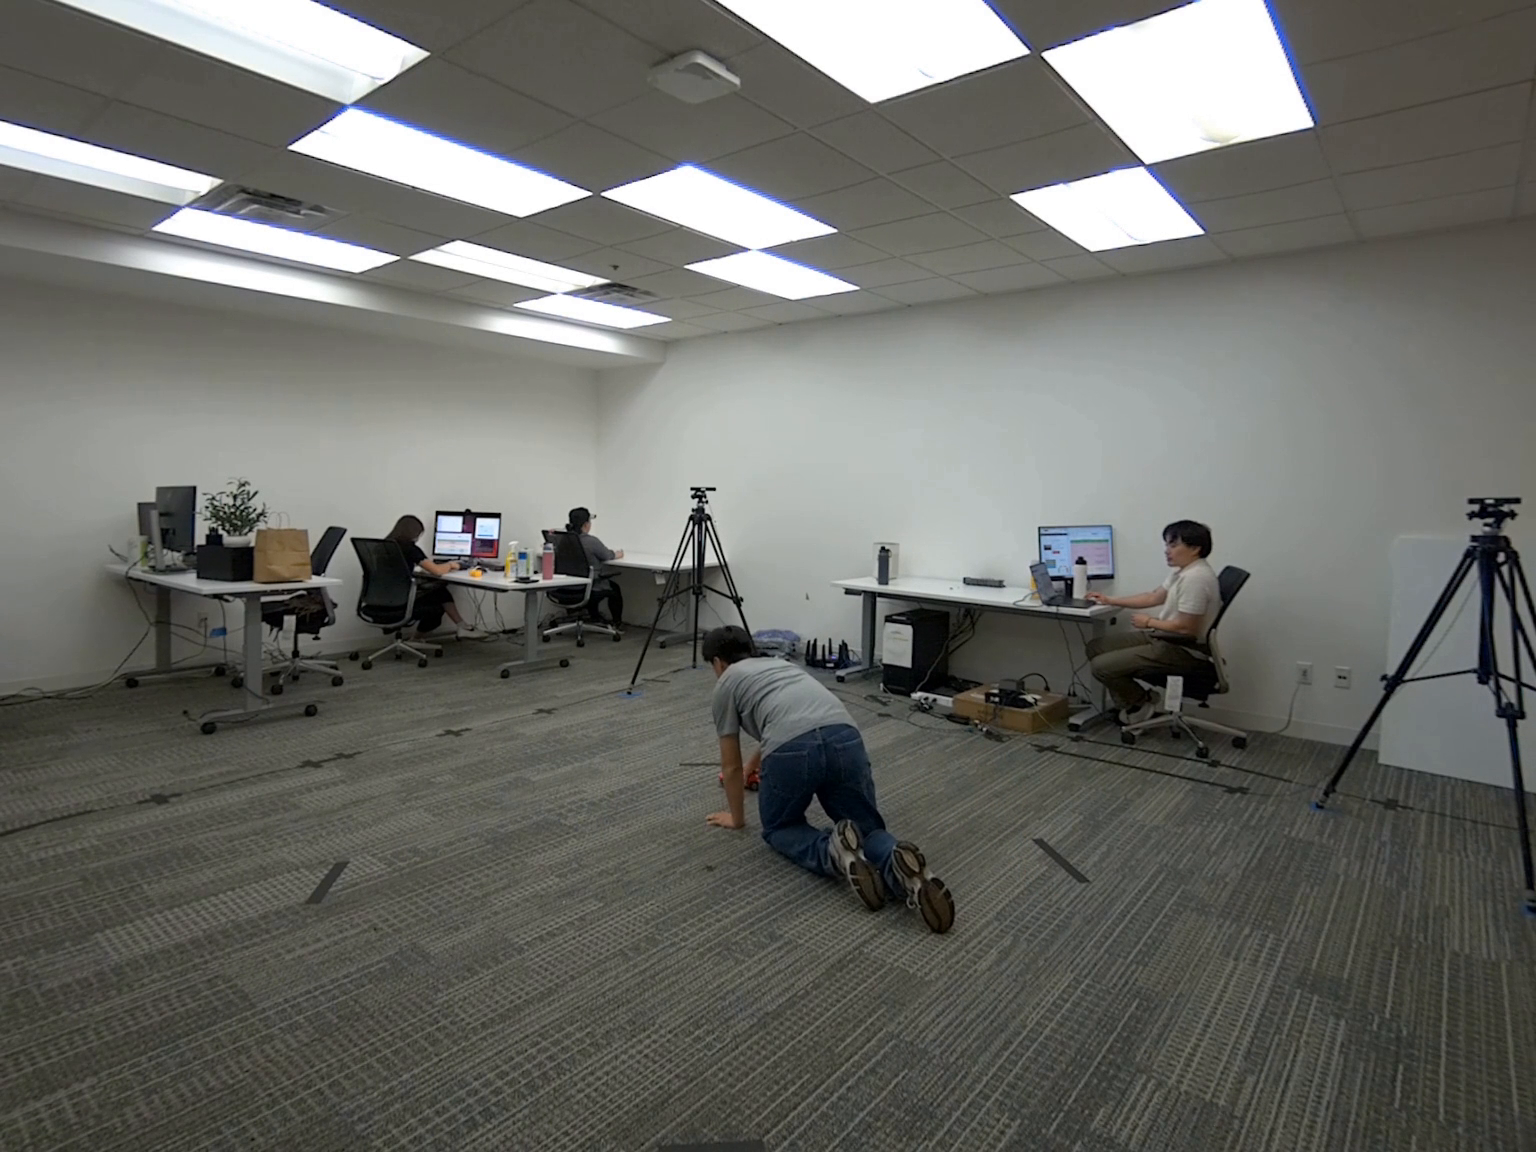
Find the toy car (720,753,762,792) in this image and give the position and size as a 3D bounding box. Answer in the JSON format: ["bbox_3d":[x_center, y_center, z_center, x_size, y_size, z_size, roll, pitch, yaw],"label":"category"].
[{"bbox_3d":[-0.100,0.947,3.981,0.258,0.083,0.128,-8,2,16],"label":"toy car"}]
